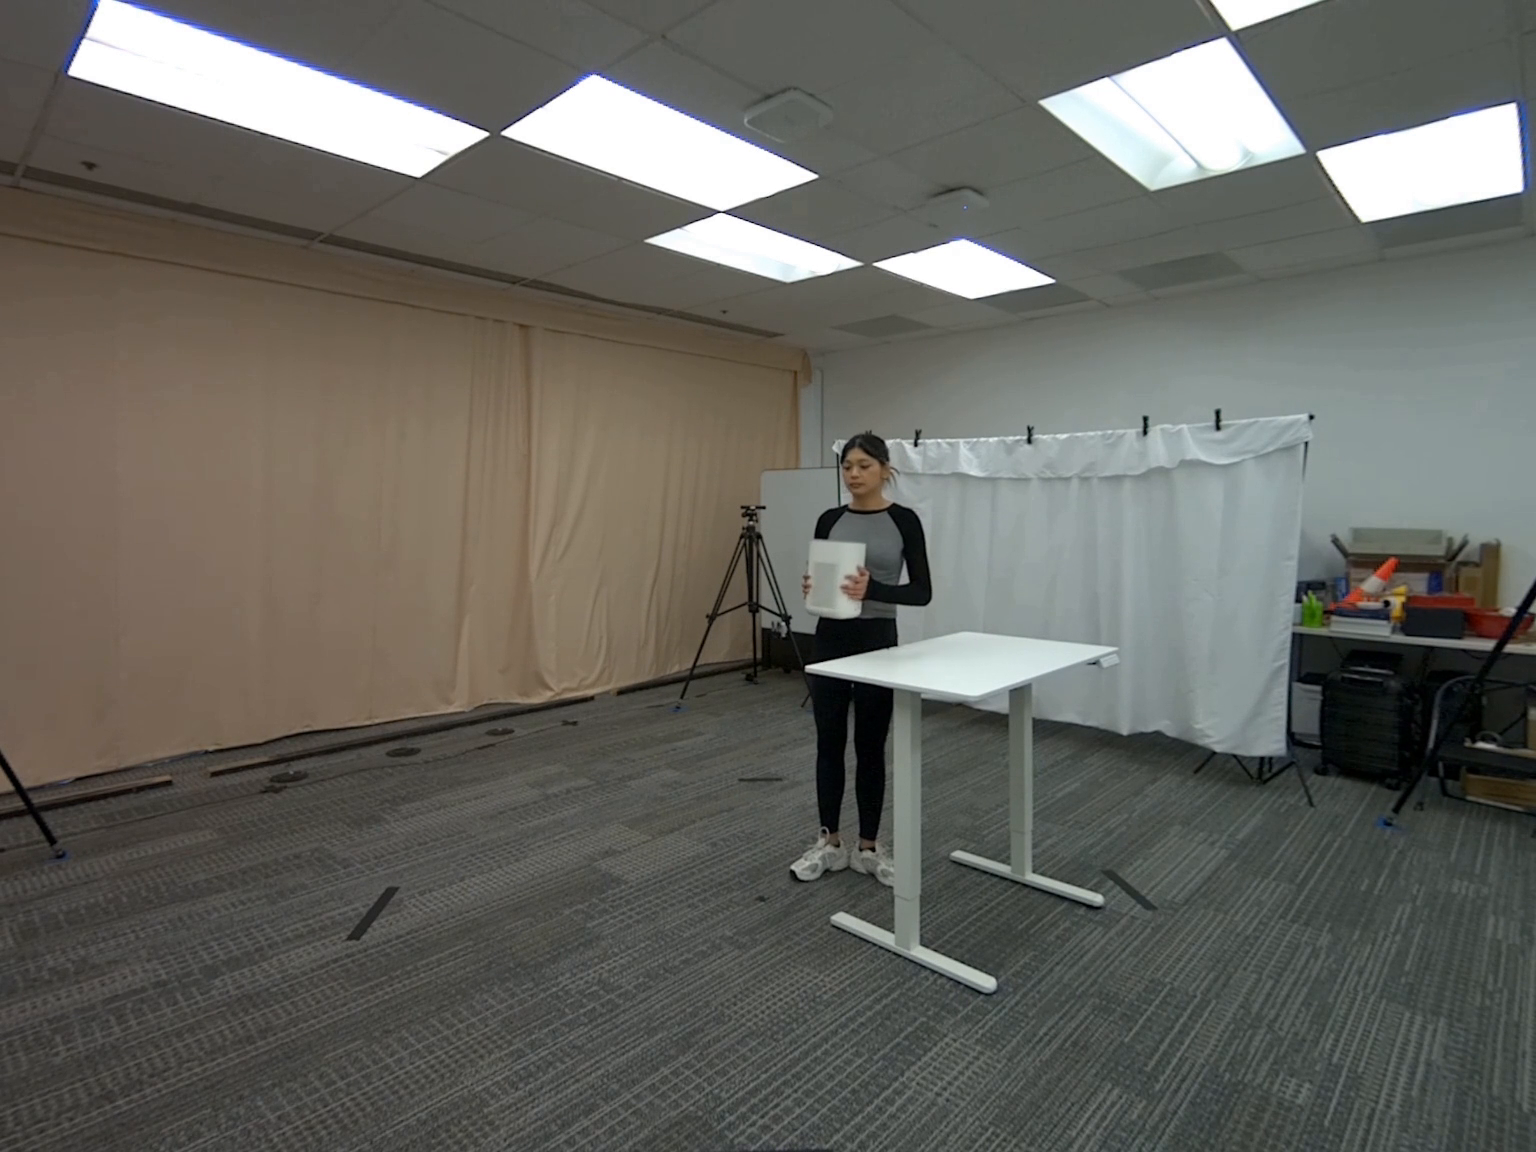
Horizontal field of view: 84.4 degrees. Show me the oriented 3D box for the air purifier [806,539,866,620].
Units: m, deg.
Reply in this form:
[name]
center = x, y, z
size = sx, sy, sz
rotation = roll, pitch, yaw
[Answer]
[air purifier]
center = 0.234, 0.012, 2.933
size = 0.176, 0.265, 0.166
rotation = 5, 2, 29
